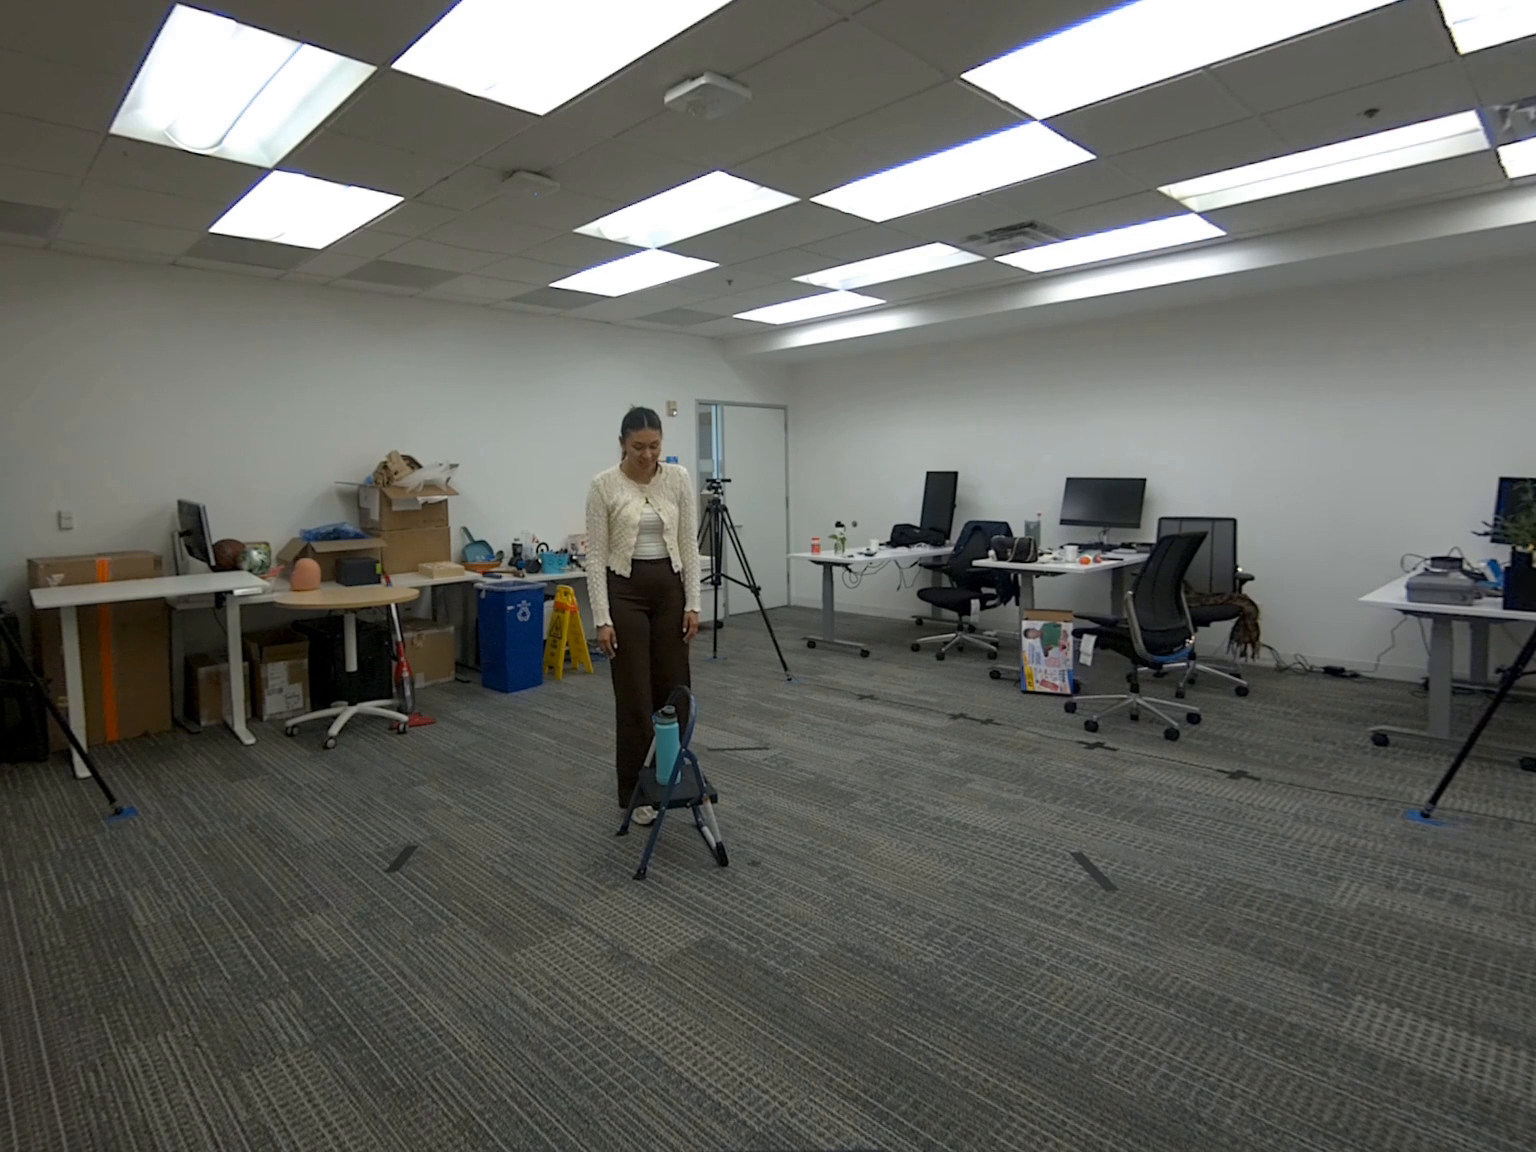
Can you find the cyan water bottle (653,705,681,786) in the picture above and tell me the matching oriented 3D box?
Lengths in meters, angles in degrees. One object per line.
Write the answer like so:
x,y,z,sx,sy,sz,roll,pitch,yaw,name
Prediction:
-0.384,0.639,3.218,0.092,0.282,0.093,-4,4,-1,cyan water bottle
